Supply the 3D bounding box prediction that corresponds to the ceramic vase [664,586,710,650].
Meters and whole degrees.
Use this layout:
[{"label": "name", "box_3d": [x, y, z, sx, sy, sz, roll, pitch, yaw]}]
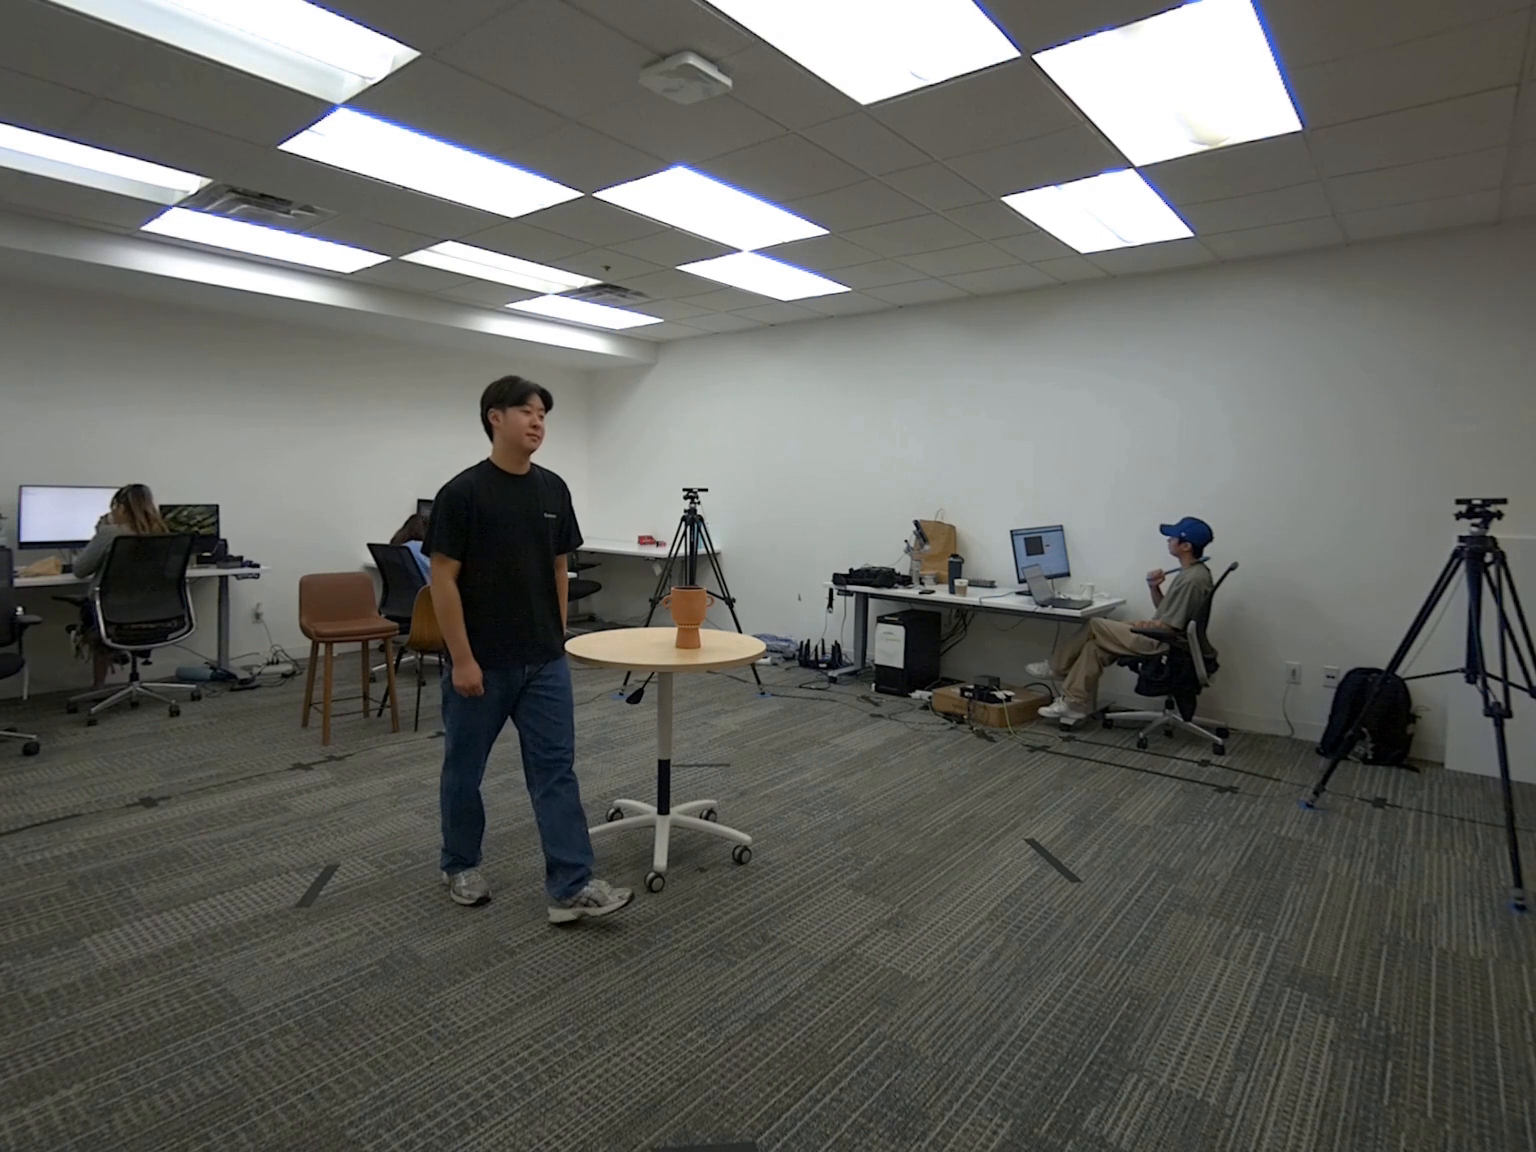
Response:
[{"label": "ceramic vase", "box_3d": [-0.310, 0.153, 3.185, 0.163, 0.219, 0.132, 3, 5, 24]}]
